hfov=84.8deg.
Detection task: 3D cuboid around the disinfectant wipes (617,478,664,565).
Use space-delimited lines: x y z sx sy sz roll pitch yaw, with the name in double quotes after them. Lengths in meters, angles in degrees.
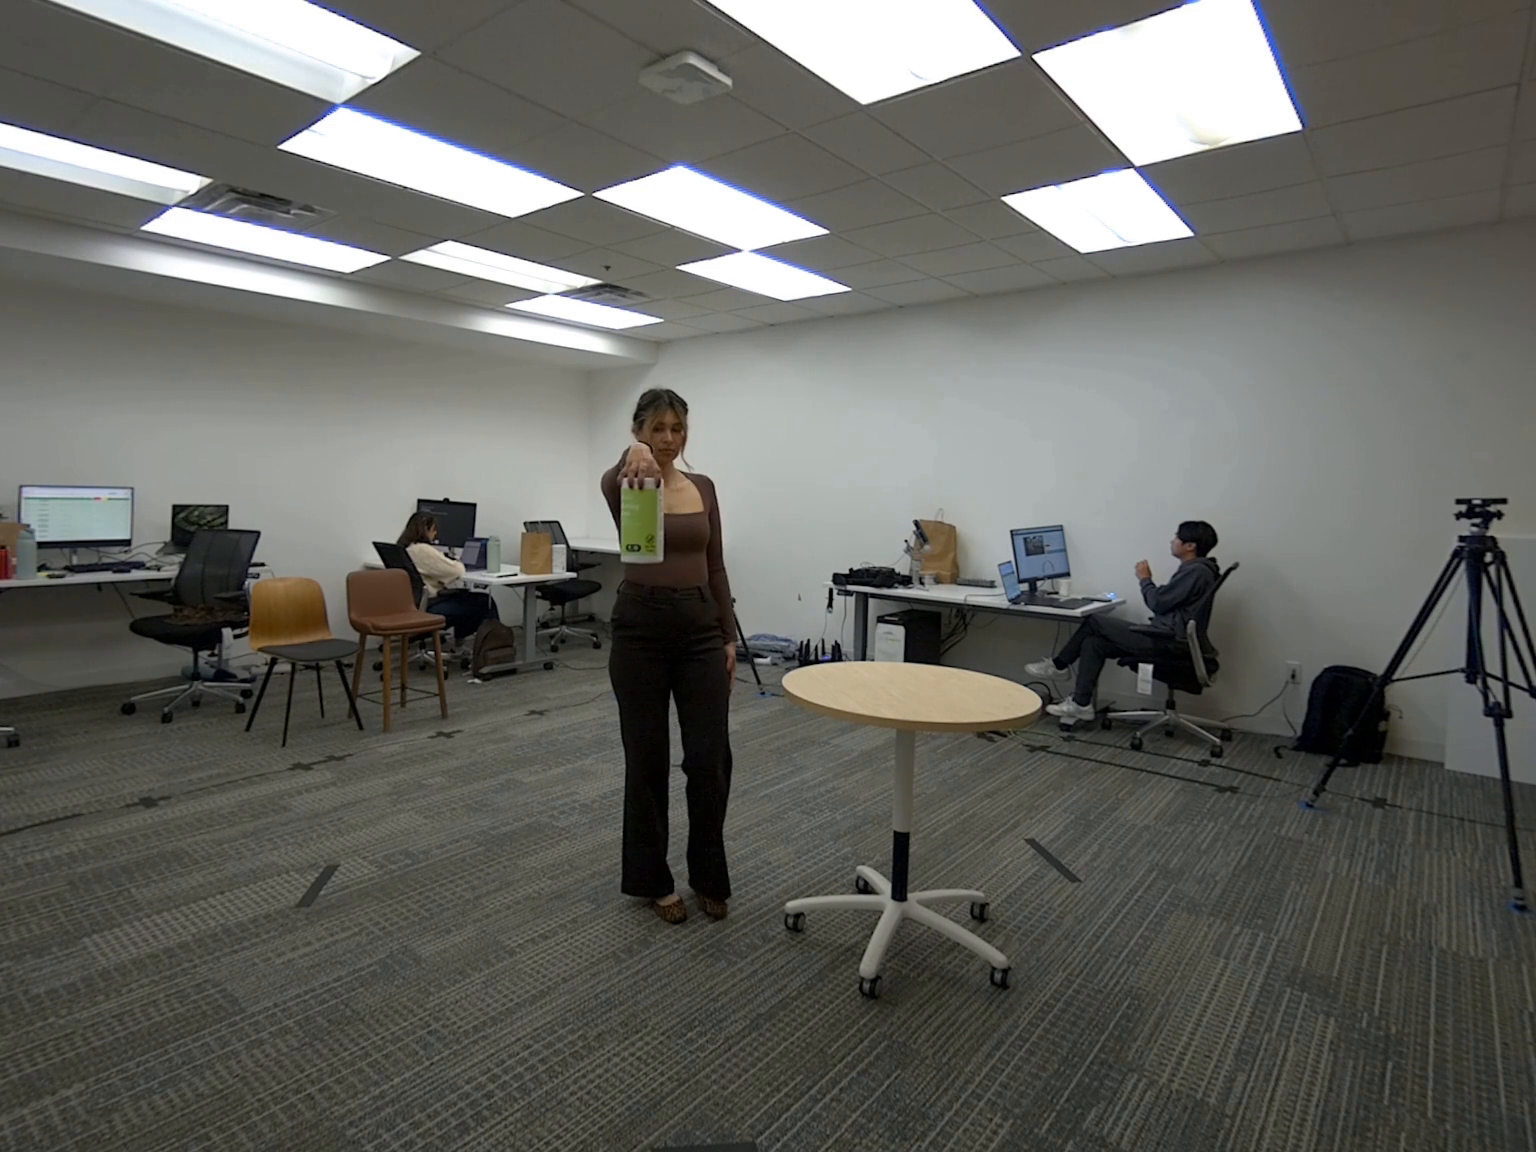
-0.325 -0.148 2.182 0.118 0.217 0.118 -4 2 -2 "disinfectant wipes"
